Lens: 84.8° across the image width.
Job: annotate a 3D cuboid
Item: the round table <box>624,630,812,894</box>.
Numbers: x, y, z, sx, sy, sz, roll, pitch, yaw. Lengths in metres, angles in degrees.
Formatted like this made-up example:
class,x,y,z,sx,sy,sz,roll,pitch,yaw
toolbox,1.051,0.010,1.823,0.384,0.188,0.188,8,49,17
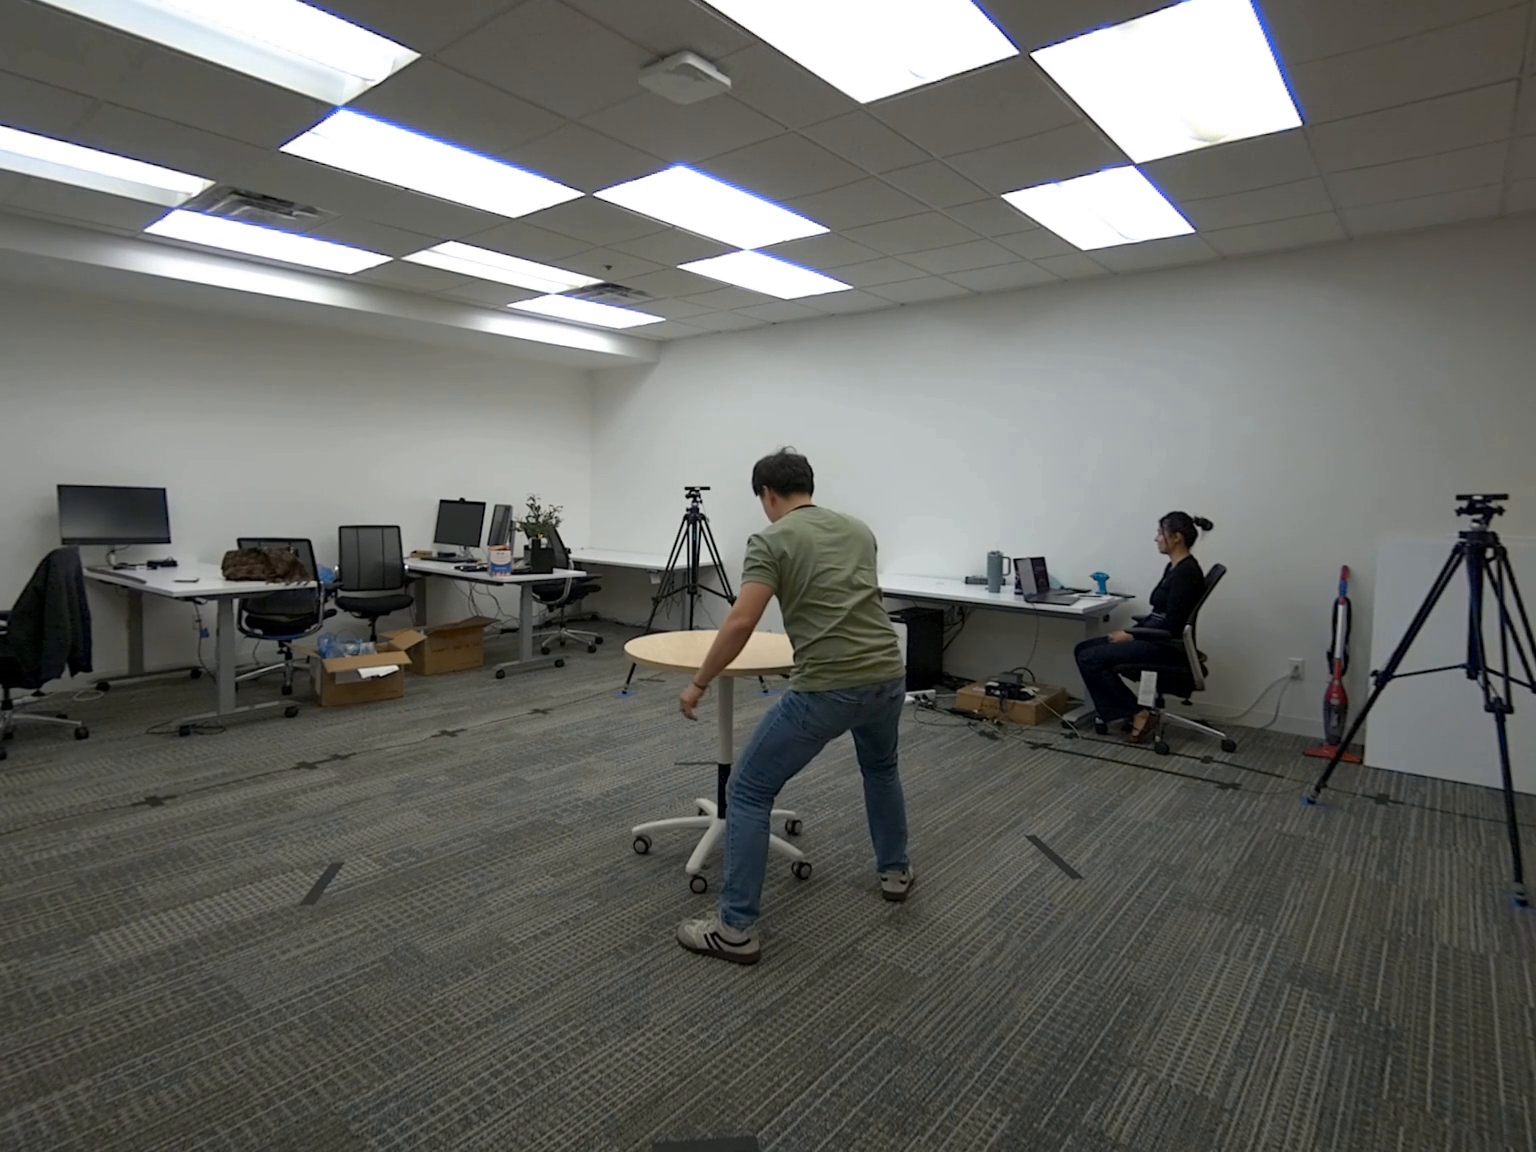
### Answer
class,x,y,z,sx,sy,sz,roll,pitch,yaw
round table,-0.174,0.661,3.218,0.763,0.792,0.767,1,4,-2
